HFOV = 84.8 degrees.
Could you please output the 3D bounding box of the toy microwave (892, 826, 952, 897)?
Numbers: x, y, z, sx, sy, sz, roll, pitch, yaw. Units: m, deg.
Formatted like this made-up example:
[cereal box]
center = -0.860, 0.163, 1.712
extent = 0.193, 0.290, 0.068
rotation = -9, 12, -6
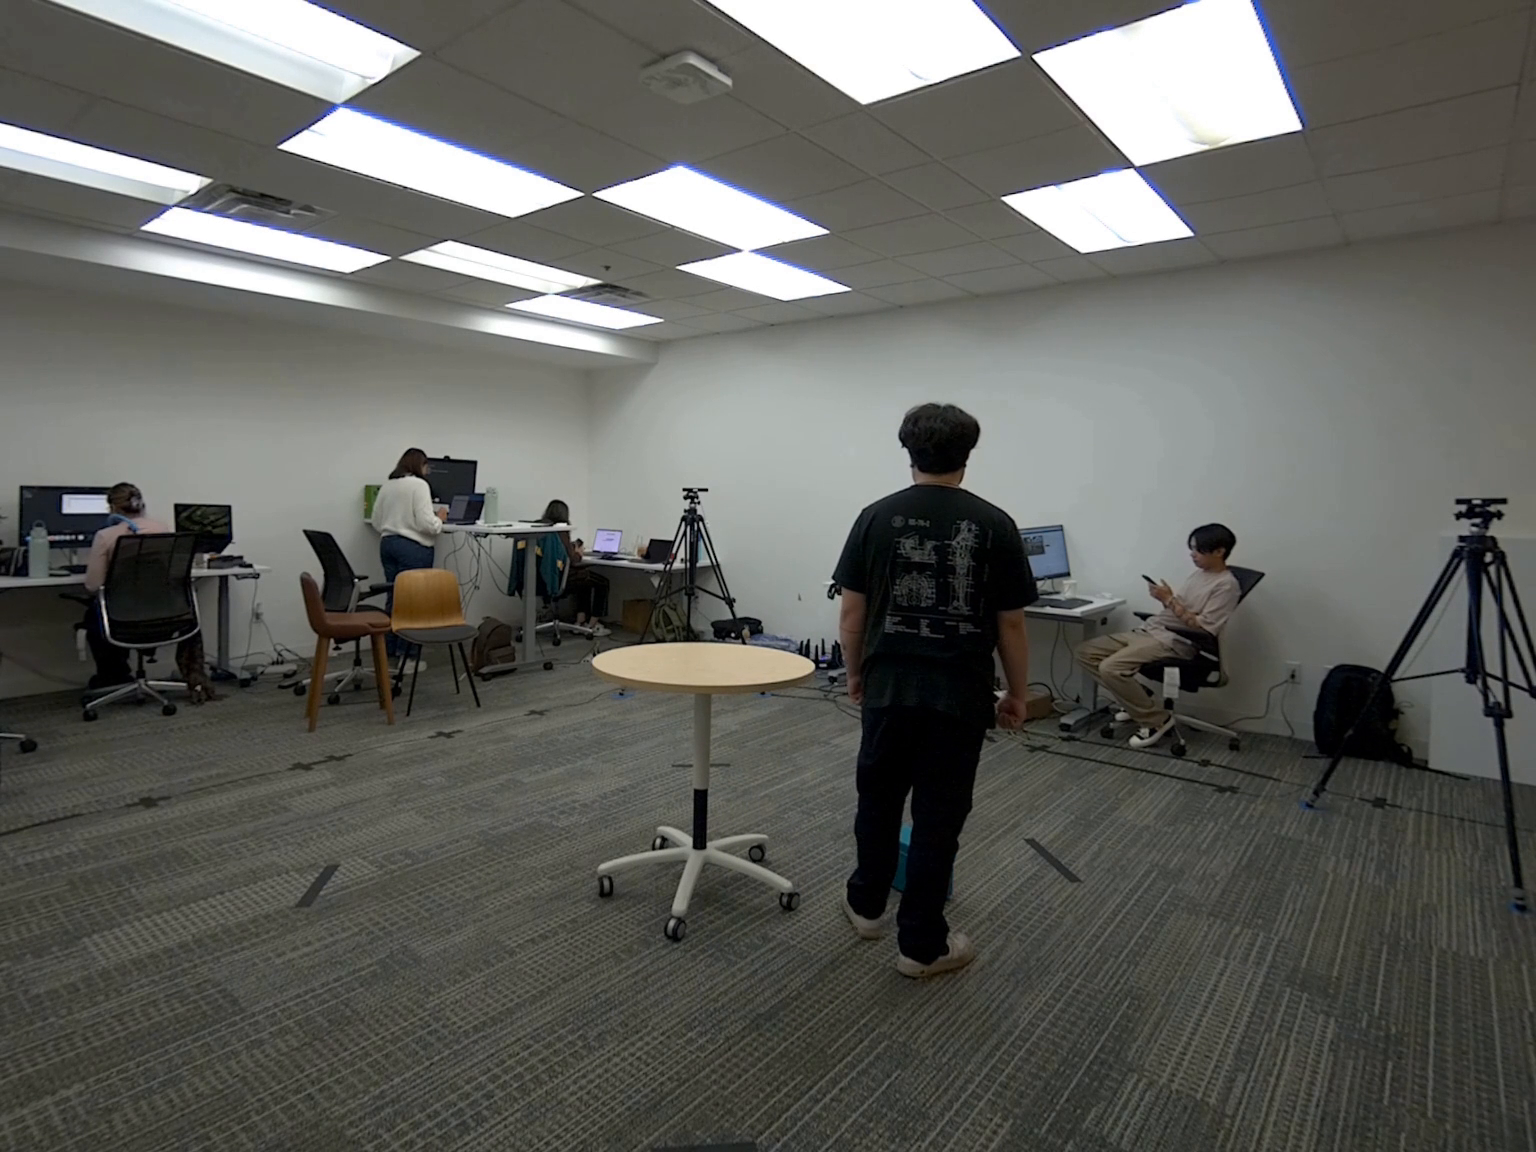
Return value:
[toy microwave]
center = 0.503, 1.000, 2.999
extent = 0.148, 0.183, 0.295
rotation = -1, 5, -34
